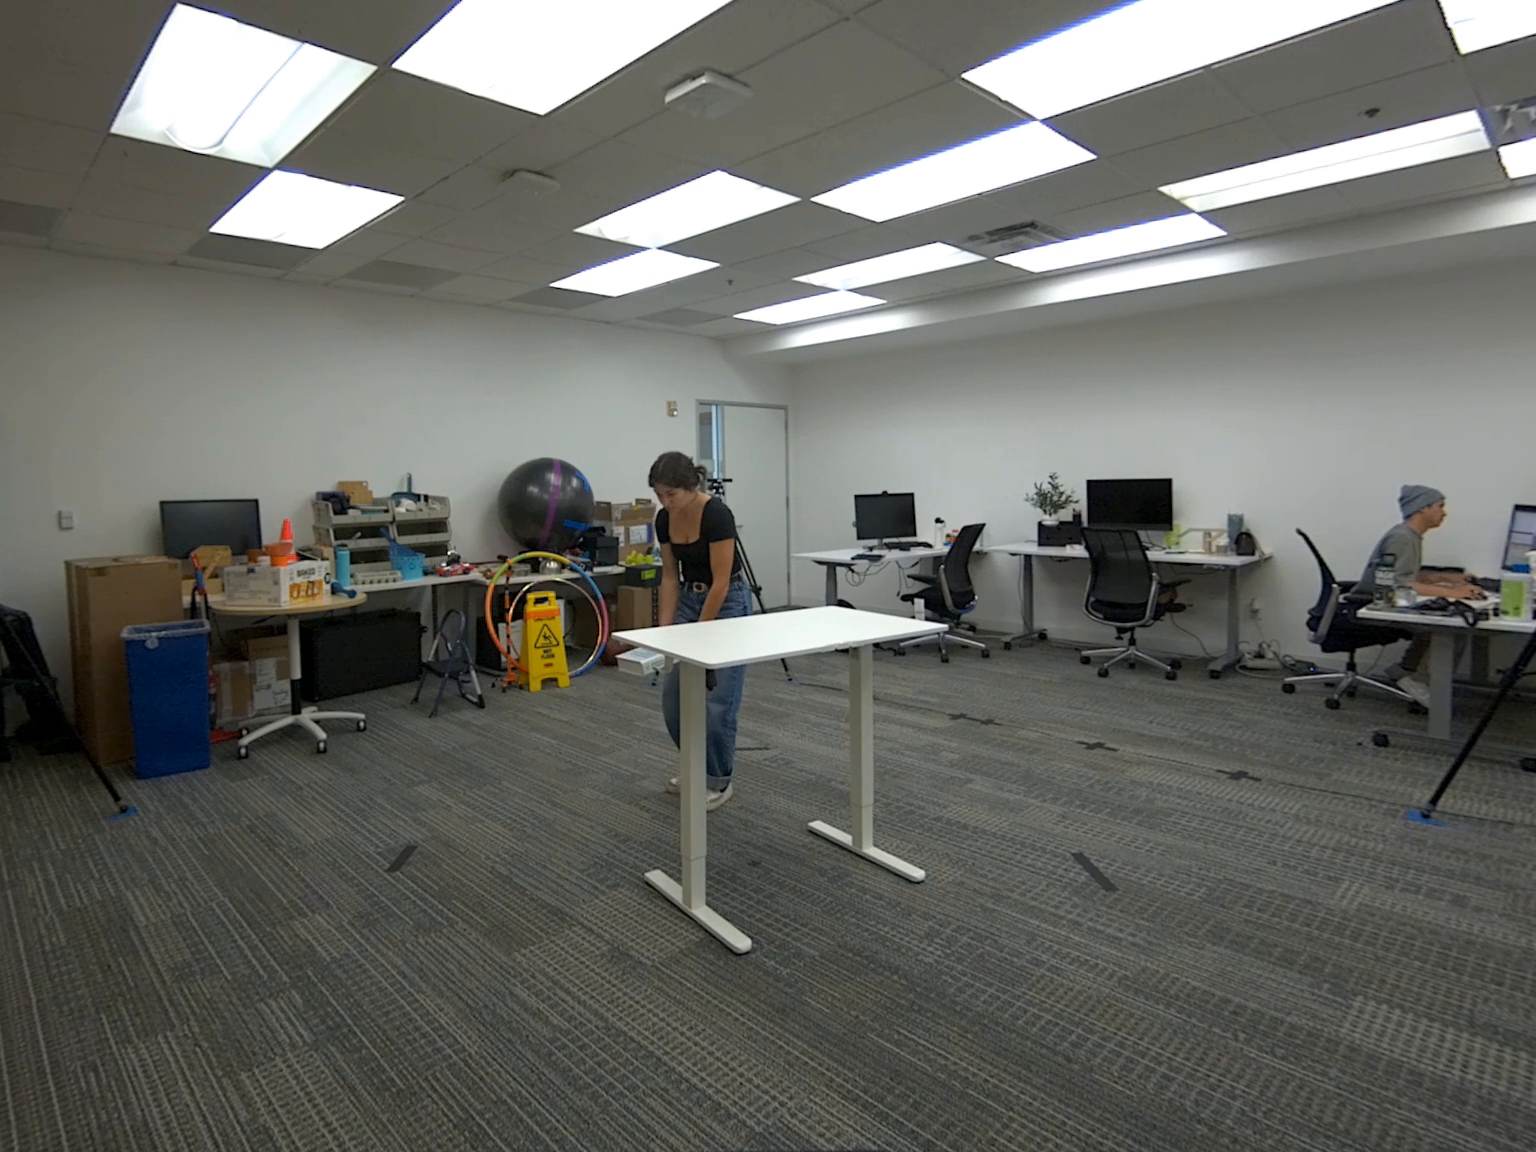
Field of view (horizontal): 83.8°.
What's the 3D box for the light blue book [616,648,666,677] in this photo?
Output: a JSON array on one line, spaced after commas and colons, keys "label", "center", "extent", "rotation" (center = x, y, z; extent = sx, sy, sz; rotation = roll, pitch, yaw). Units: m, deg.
[{"label": "light blue book", "center": [-0.472, 0.341, 3.498], "extent": [0.256, 0.058, 0.197], "rotation": [-16, 13, -37]}]
